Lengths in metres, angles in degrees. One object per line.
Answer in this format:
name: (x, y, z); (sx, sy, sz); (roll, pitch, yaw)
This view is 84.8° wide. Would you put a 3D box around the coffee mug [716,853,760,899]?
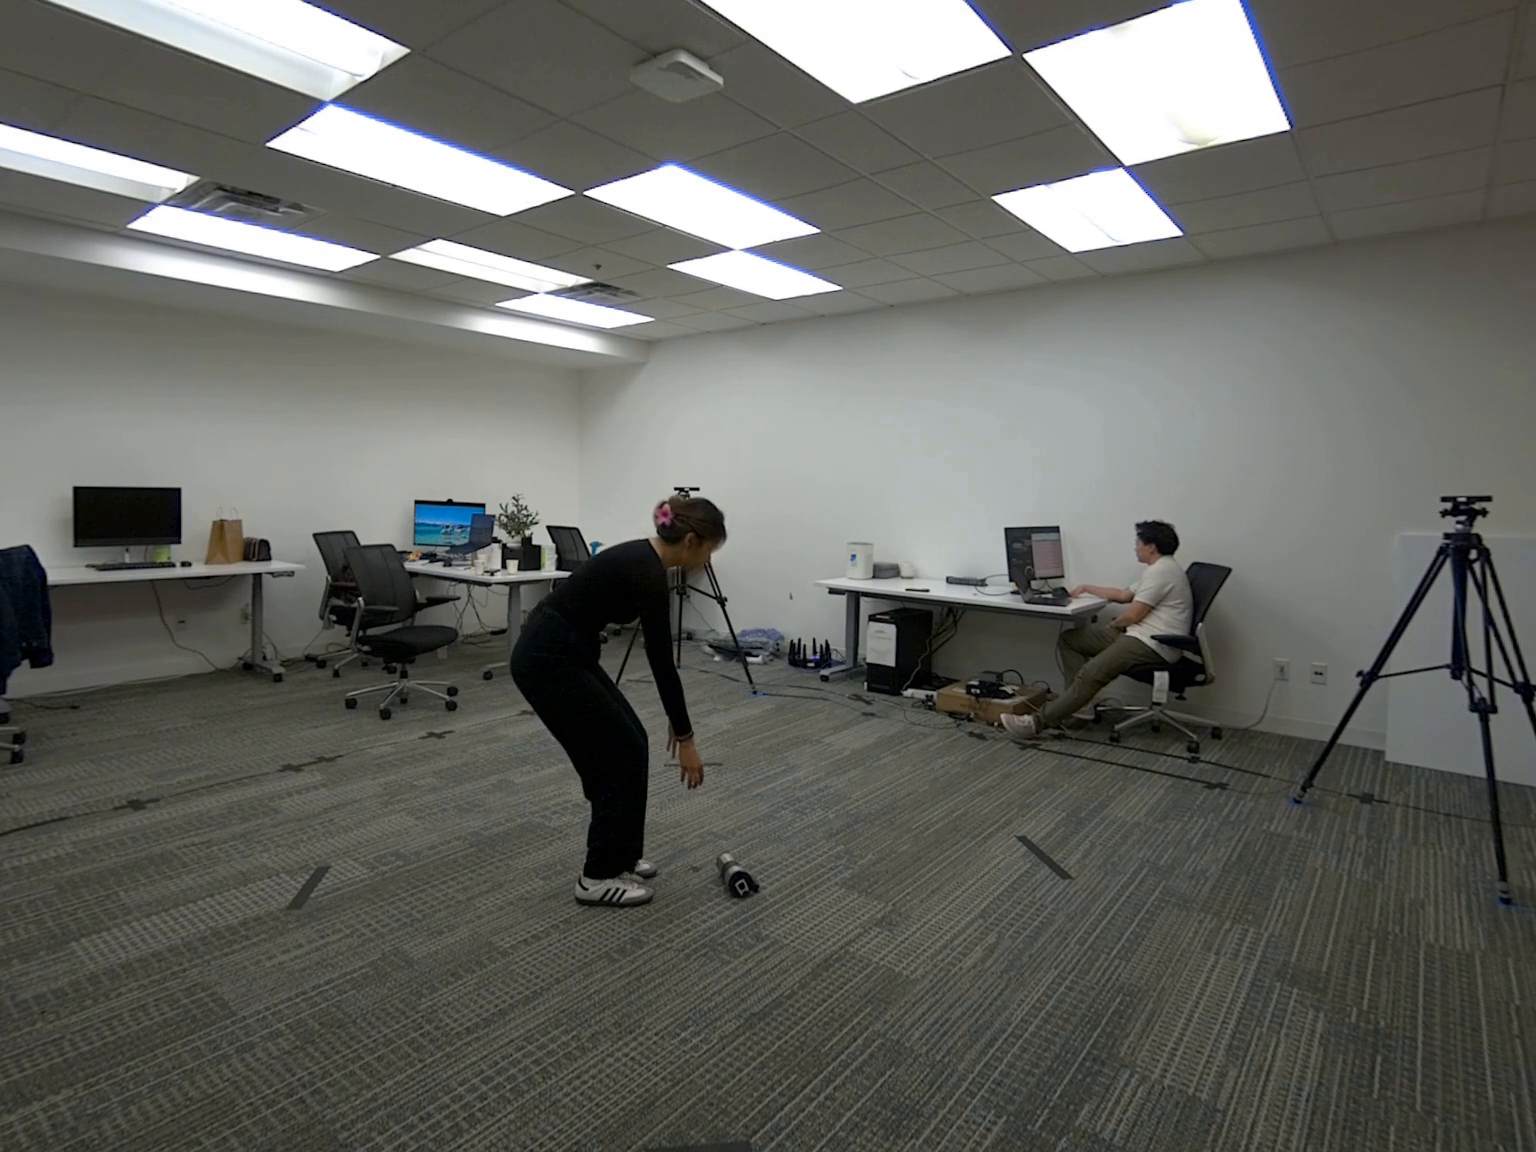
coffee mug: (-0.116, 1.054, 2.979); (0.088, 0.120, 0.207); (-43, 13, -13)
